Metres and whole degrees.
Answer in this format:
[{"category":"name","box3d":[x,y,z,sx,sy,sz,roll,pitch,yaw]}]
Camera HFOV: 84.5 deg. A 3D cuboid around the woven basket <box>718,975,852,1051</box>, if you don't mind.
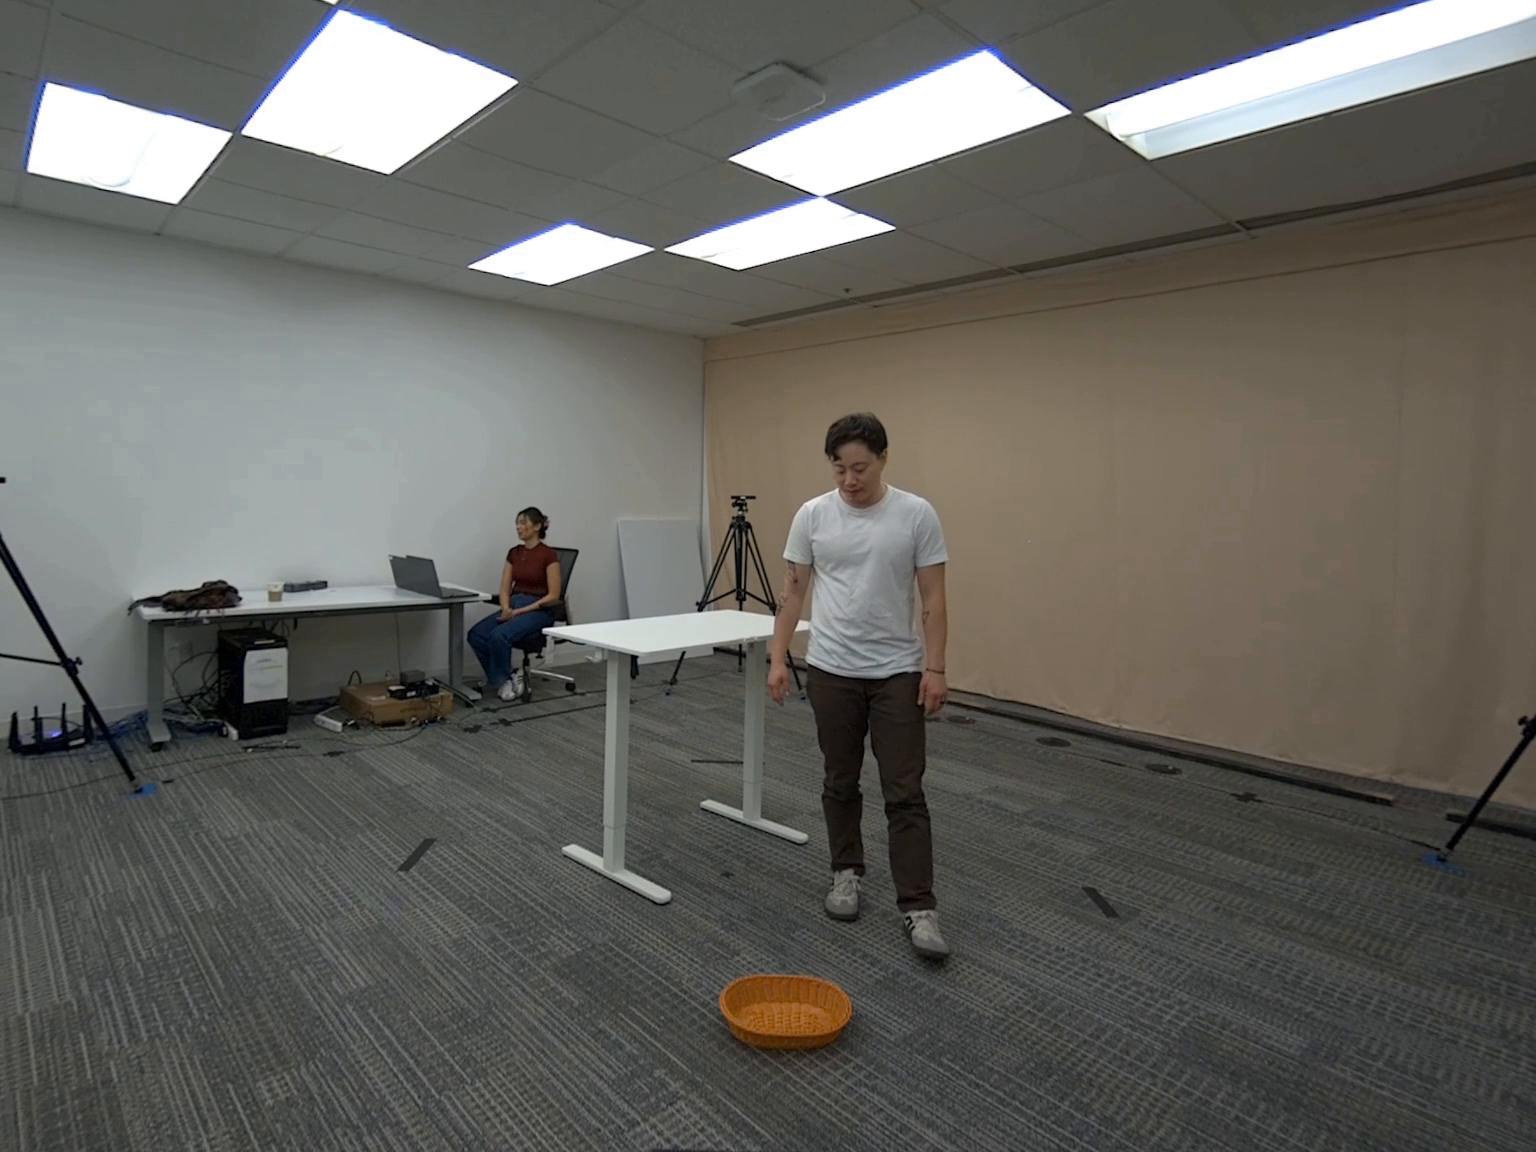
[{"category":"woven basket","box3d":[0.038,1.153,2.210,0.351,0.073,0.252,2,6,3]}]
